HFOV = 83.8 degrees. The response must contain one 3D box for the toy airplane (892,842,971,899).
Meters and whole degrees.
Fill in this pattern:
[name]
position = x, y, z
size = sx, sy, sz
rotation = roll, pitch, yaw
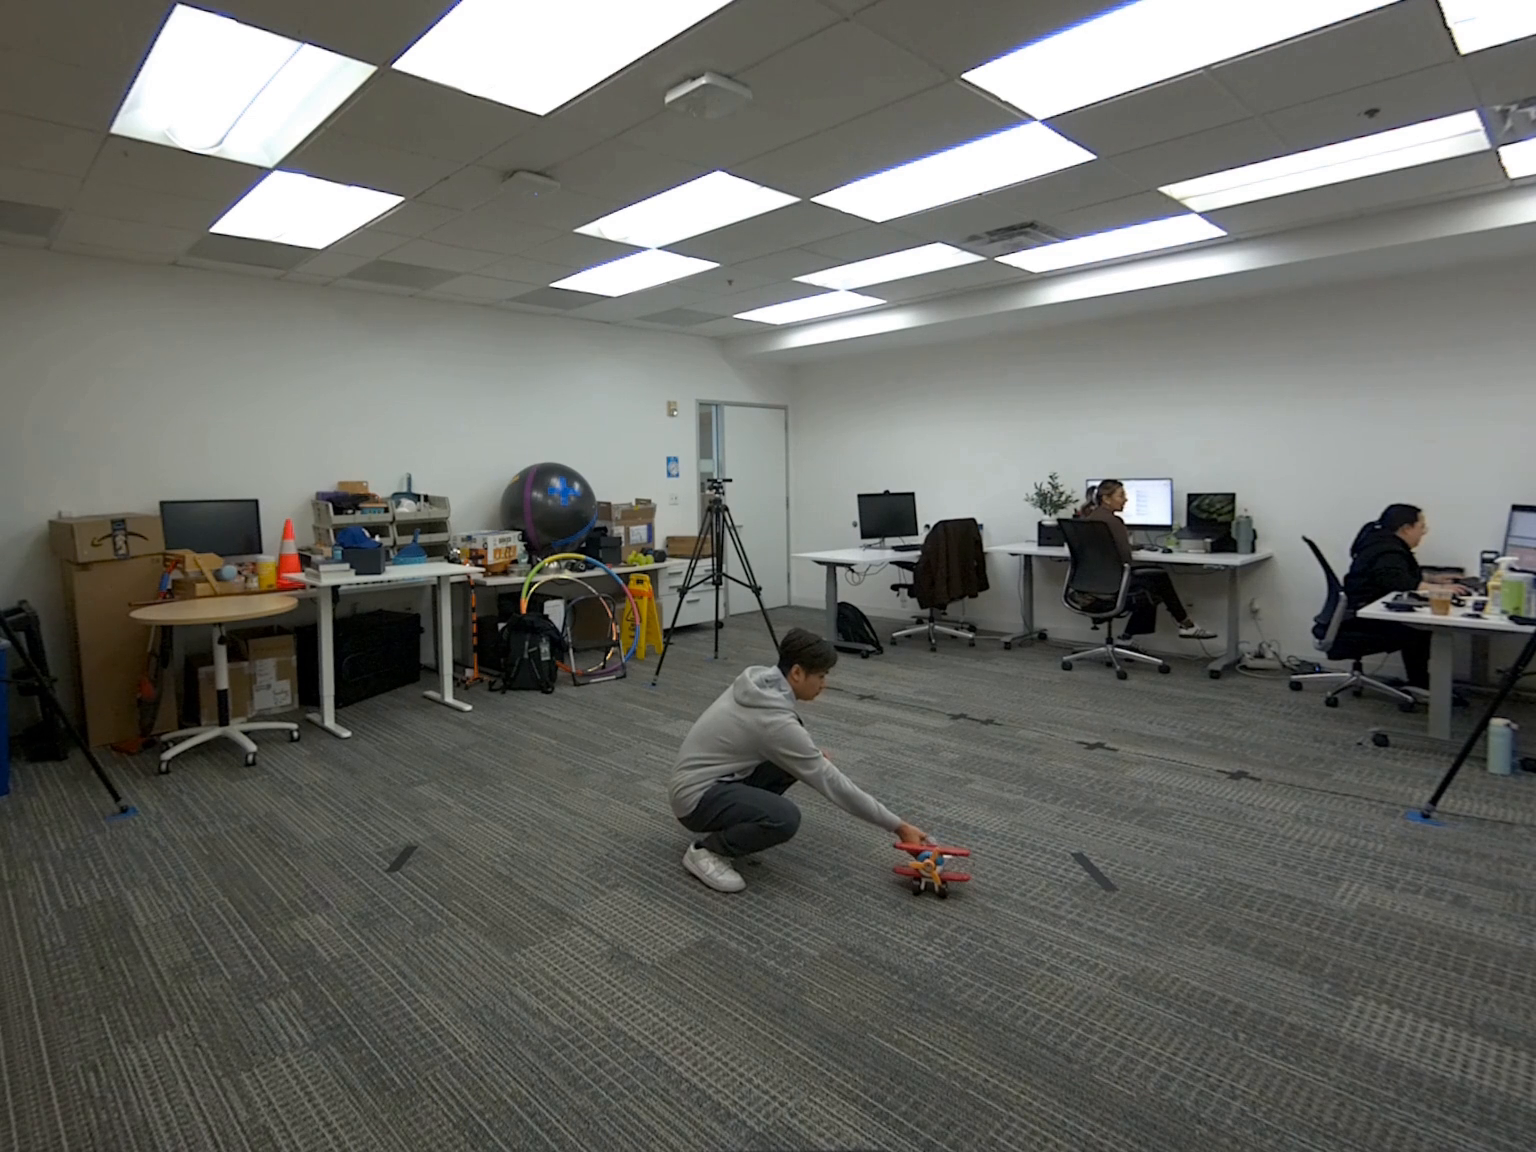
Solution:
[toy airplane]
position = 0.538, 0.979, 2.925
size = 0.248, 0.156, 0.263
rotation = -2, 6, -12
